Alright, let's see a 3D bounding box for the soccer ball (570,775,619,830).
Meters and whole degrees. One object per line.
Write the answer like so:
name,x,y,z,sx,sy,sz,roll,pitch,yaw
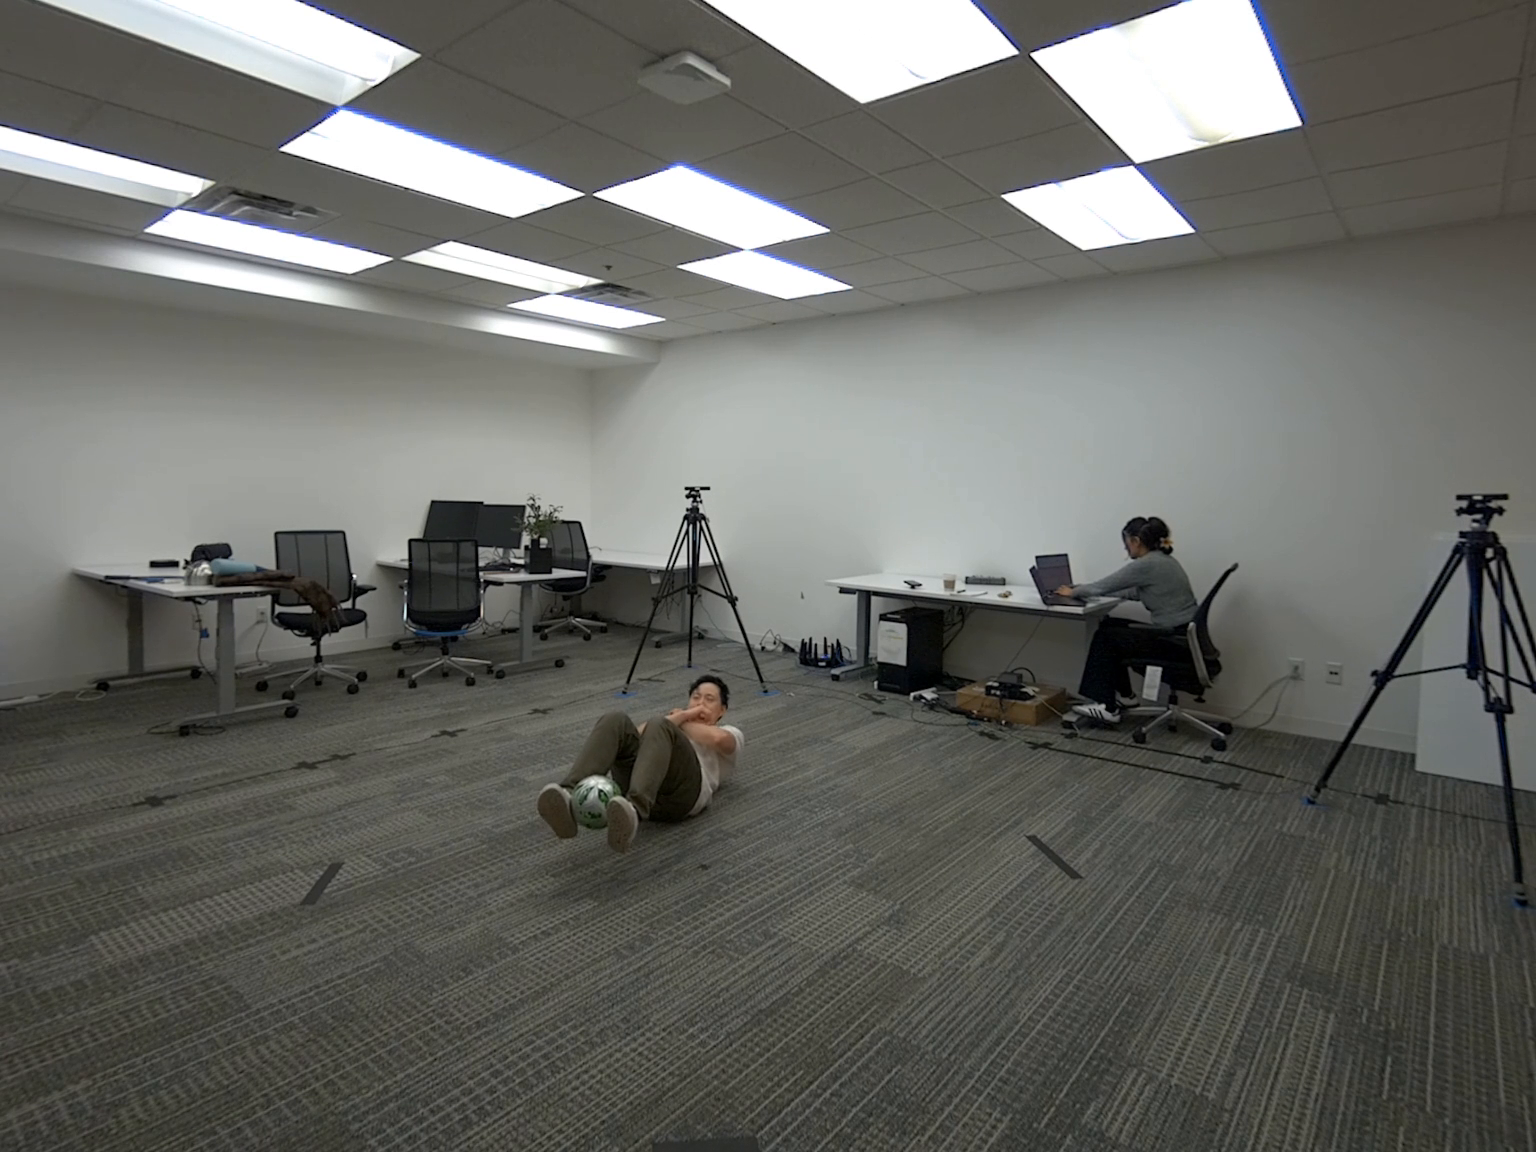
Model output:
soccer ball,-0.634,0.806,3.038,0.187,0.187,0.188,1,4,-2
